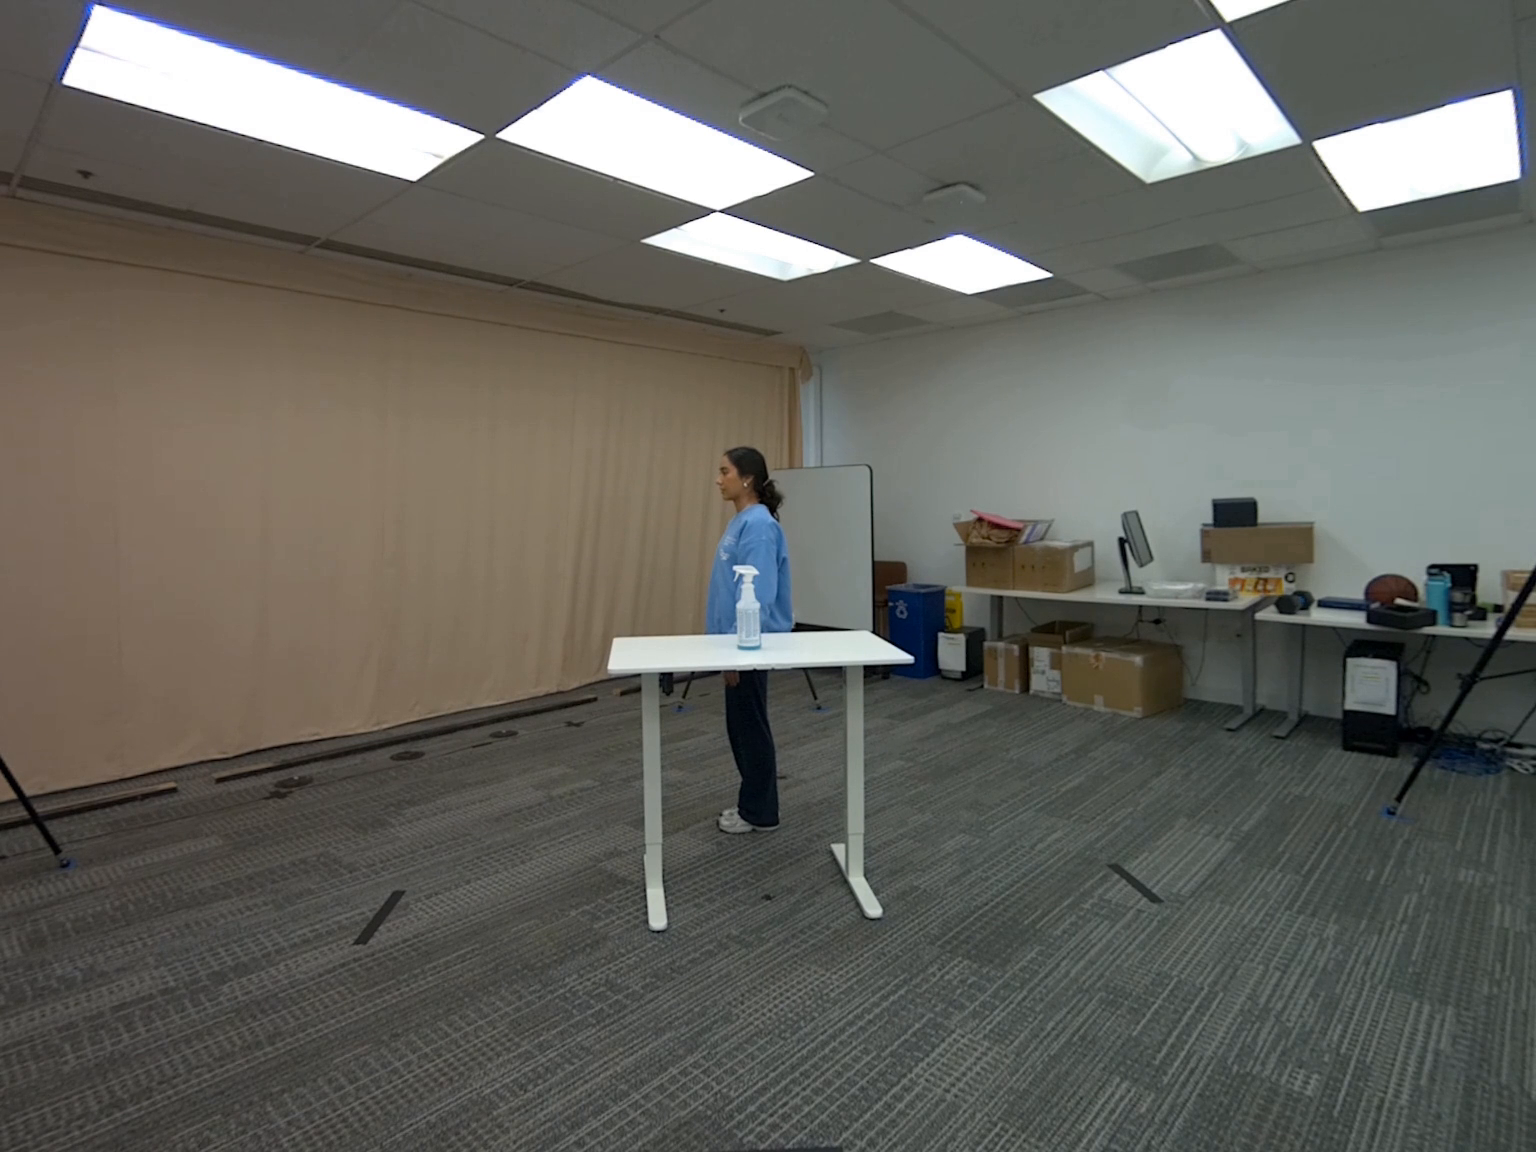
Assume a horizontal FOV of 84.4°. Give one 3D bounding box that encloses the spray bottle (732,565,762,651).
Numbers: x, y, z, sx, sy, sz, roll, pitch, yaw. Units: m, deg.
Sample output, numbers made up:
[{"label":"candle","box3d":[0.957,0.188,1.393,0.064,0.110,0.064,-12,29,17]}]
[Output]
[{"label":"spray bottle","box3d":[-0.071,0.111,2.992,0.092,0.296,0.085,-2,4,18]}]
